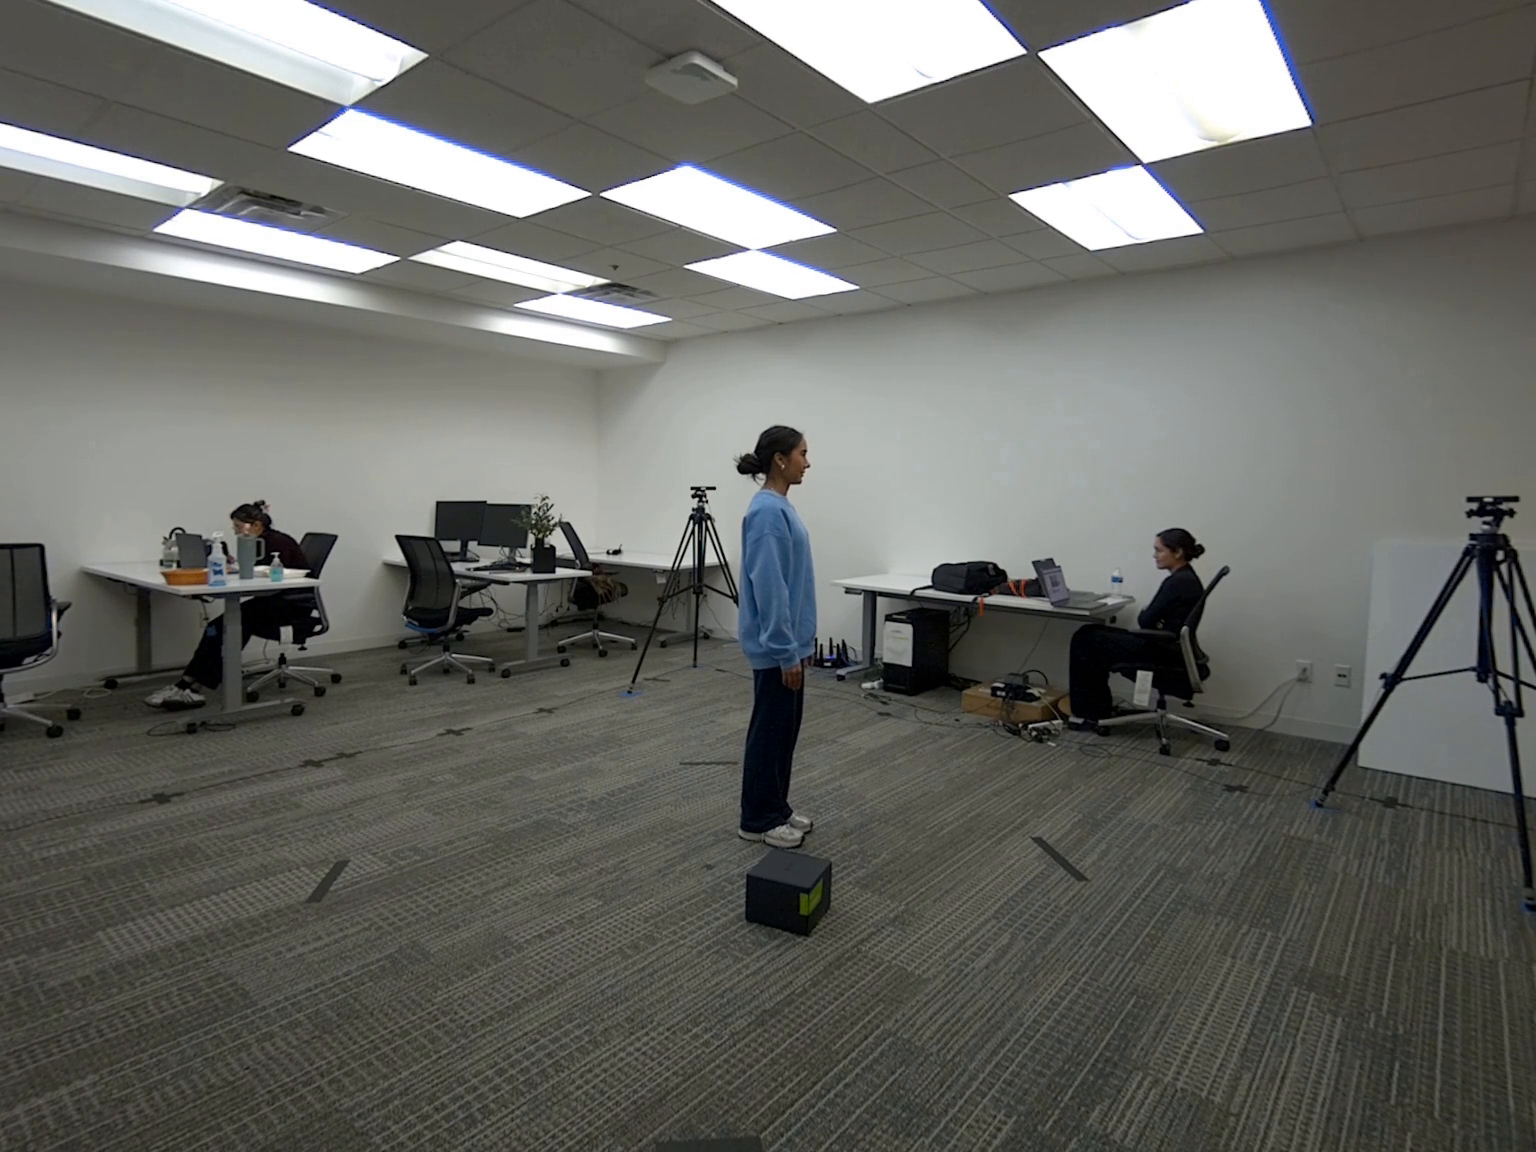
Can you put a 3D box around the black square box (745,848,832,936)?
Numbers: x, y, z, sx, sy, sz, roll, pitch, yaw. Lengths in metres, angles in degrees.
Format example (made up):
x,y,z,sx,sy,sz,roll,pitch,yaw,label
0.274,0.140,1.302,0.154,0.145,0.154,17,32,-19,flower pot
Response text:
x,y,z,sx,sy,sz,roll,pitch,yaw,label
0.063,1.018,2.777,0.222,0.155,0.223,4,5,23,black square box
